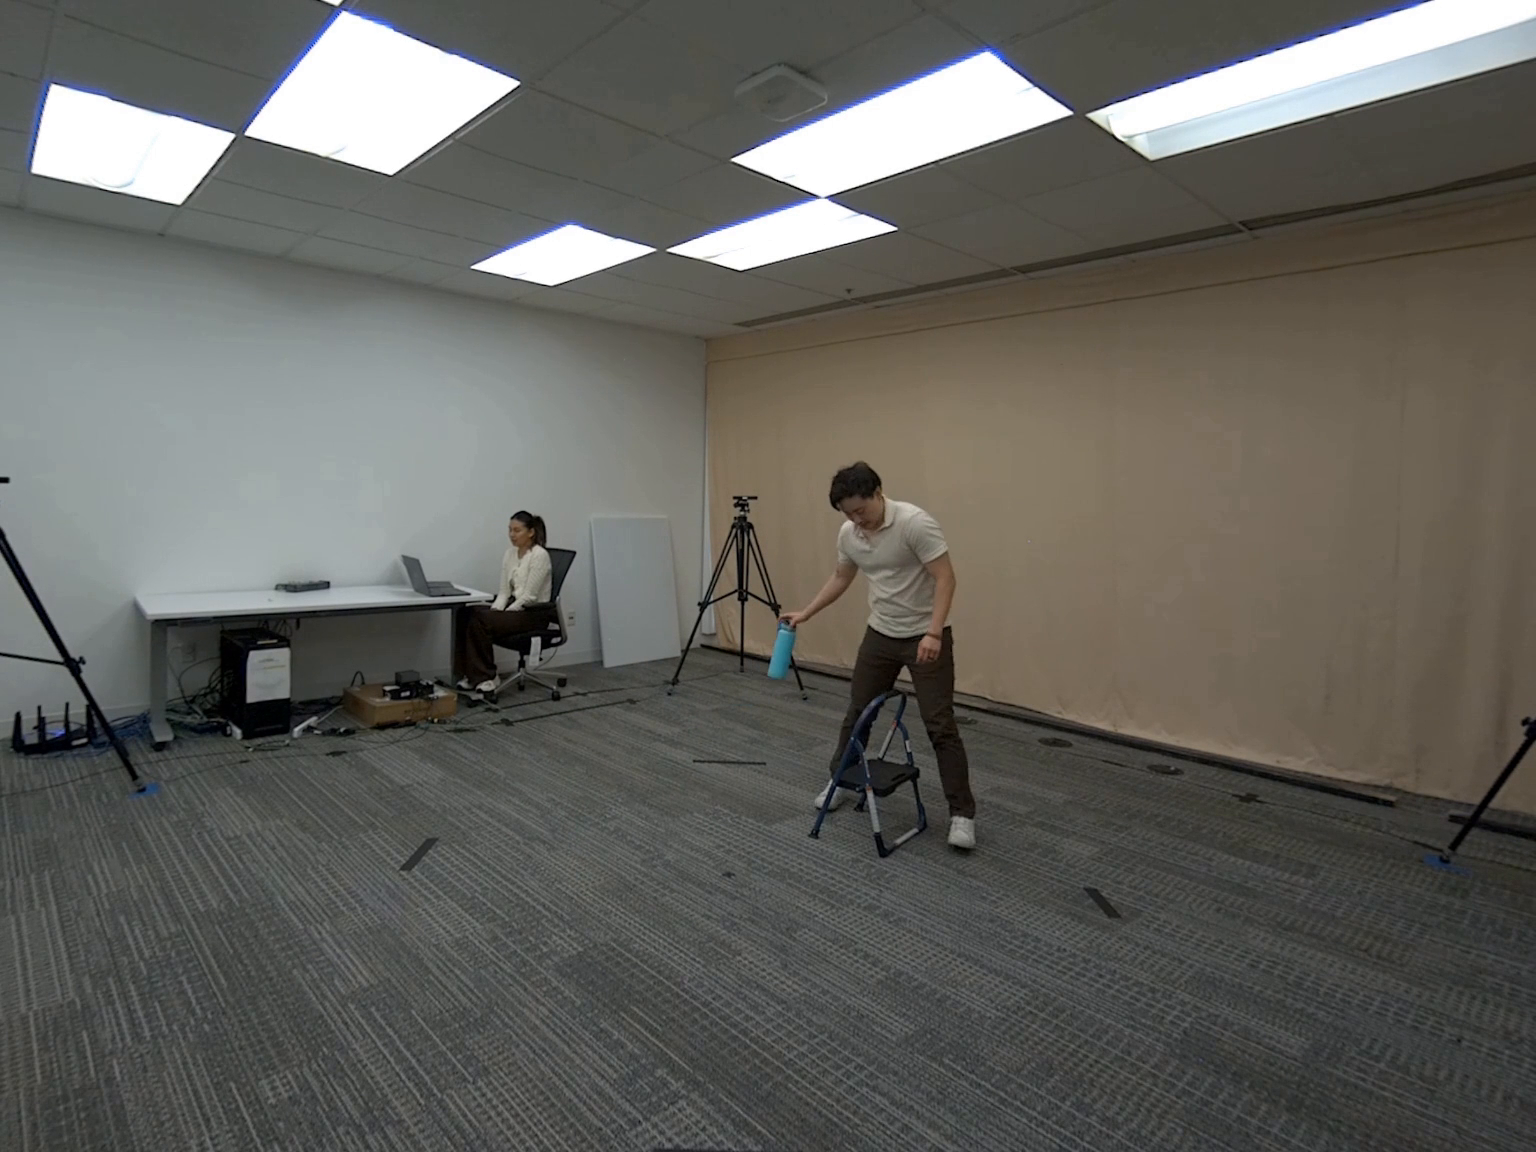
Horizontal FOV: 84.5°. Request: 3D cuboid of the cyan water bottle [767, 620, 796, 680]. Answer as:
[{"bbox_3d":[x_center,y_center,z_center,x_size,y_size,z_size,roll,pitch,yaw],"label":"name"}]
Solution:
[{"bbox_3d":[0.074,0.332,3.974,0.092,0.283,0.092,9,-1,-1],"label":"cyan water bottle"}]
